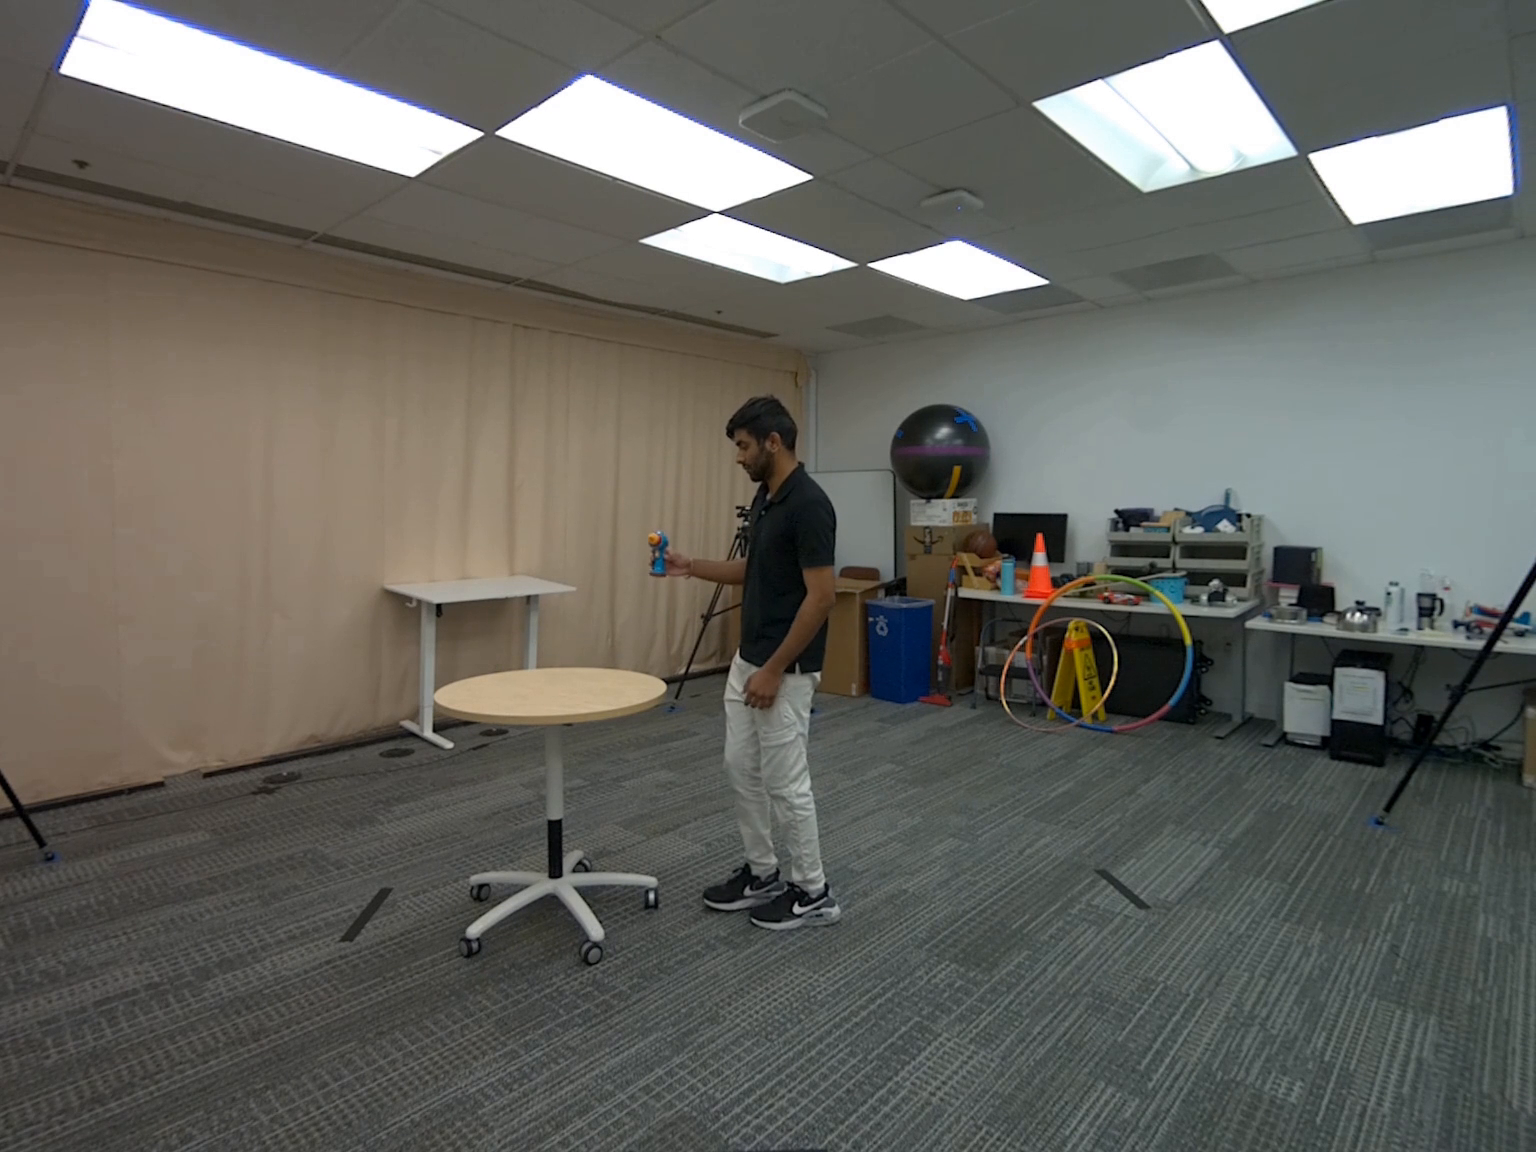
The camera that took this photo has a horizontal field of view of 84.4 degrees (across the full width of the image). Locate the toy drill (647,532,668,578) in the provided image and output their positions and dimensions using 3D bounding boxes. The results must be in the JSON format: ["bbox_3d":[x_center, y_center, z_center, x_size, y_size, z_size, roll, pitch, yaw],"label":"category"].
[{"bbox_3d":[-0.367,-0.075,2.767,0.061,0.147,0.167,-3,-8,6],"label":"toy drill"}]
